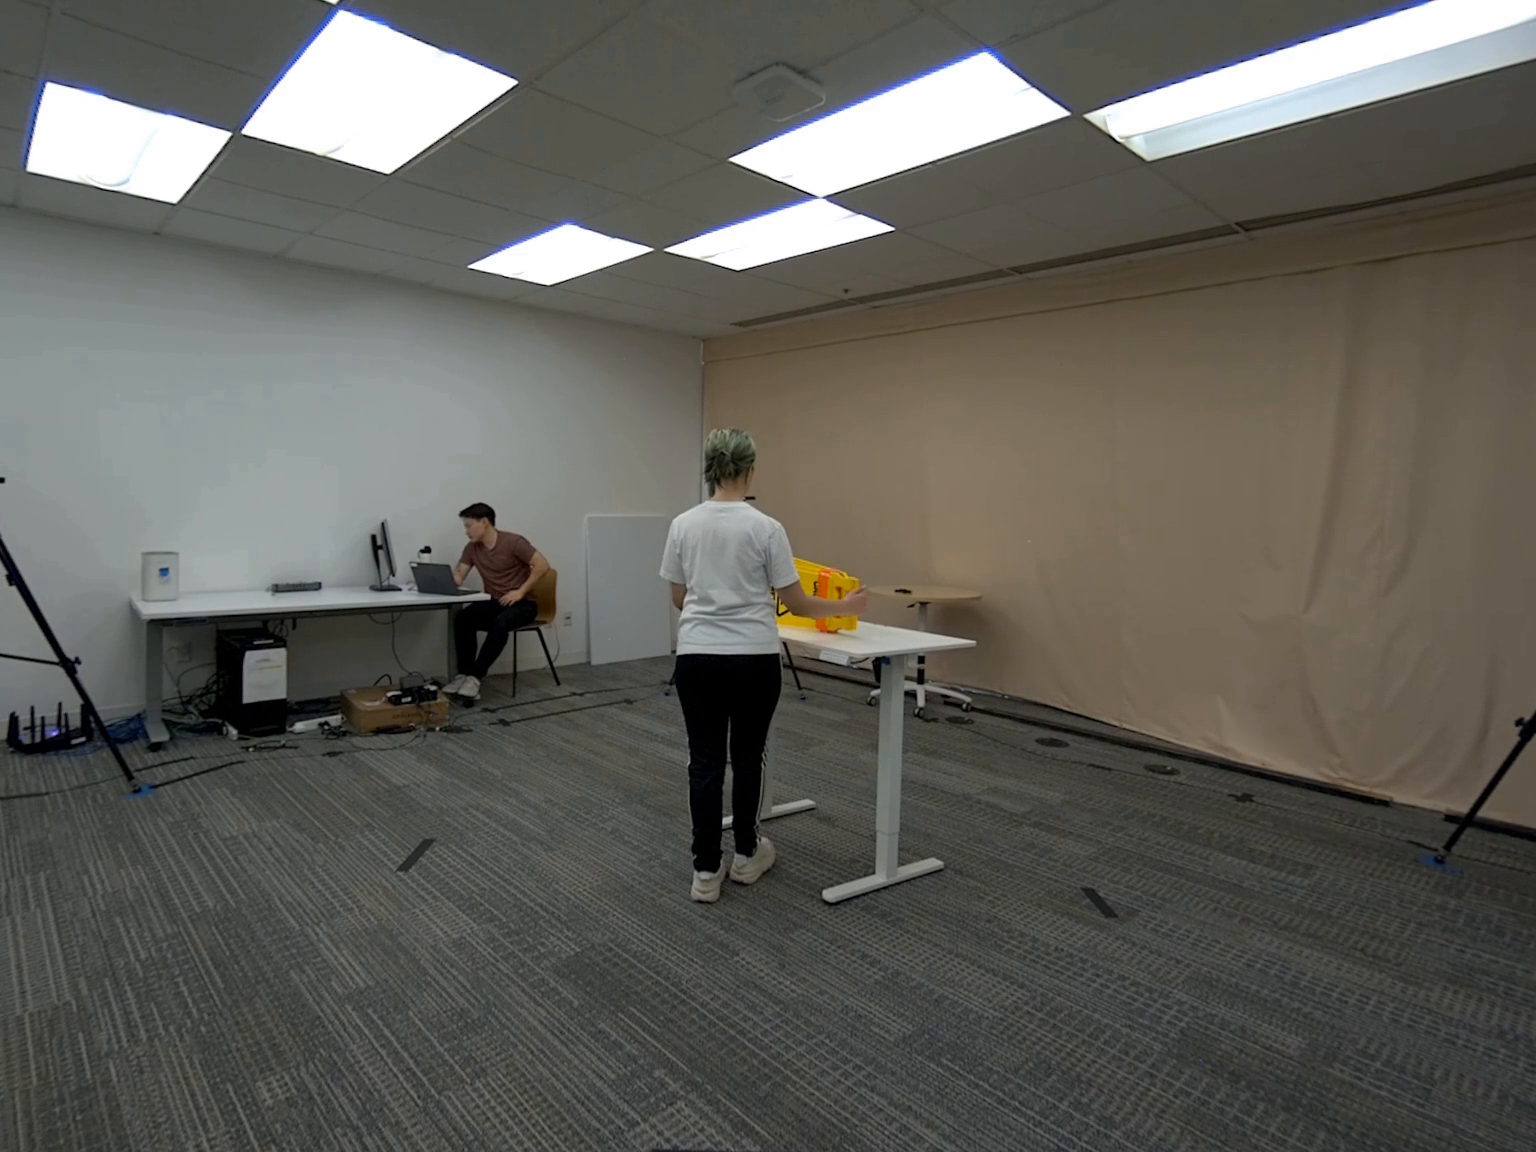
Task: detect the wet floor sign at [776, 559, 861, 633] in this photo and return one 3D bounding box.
[{"bbox_3d":[0.126,0.075,3.402,0.283,0.281,0.663,0,7,-37],"label":"wet floor sign"}]
